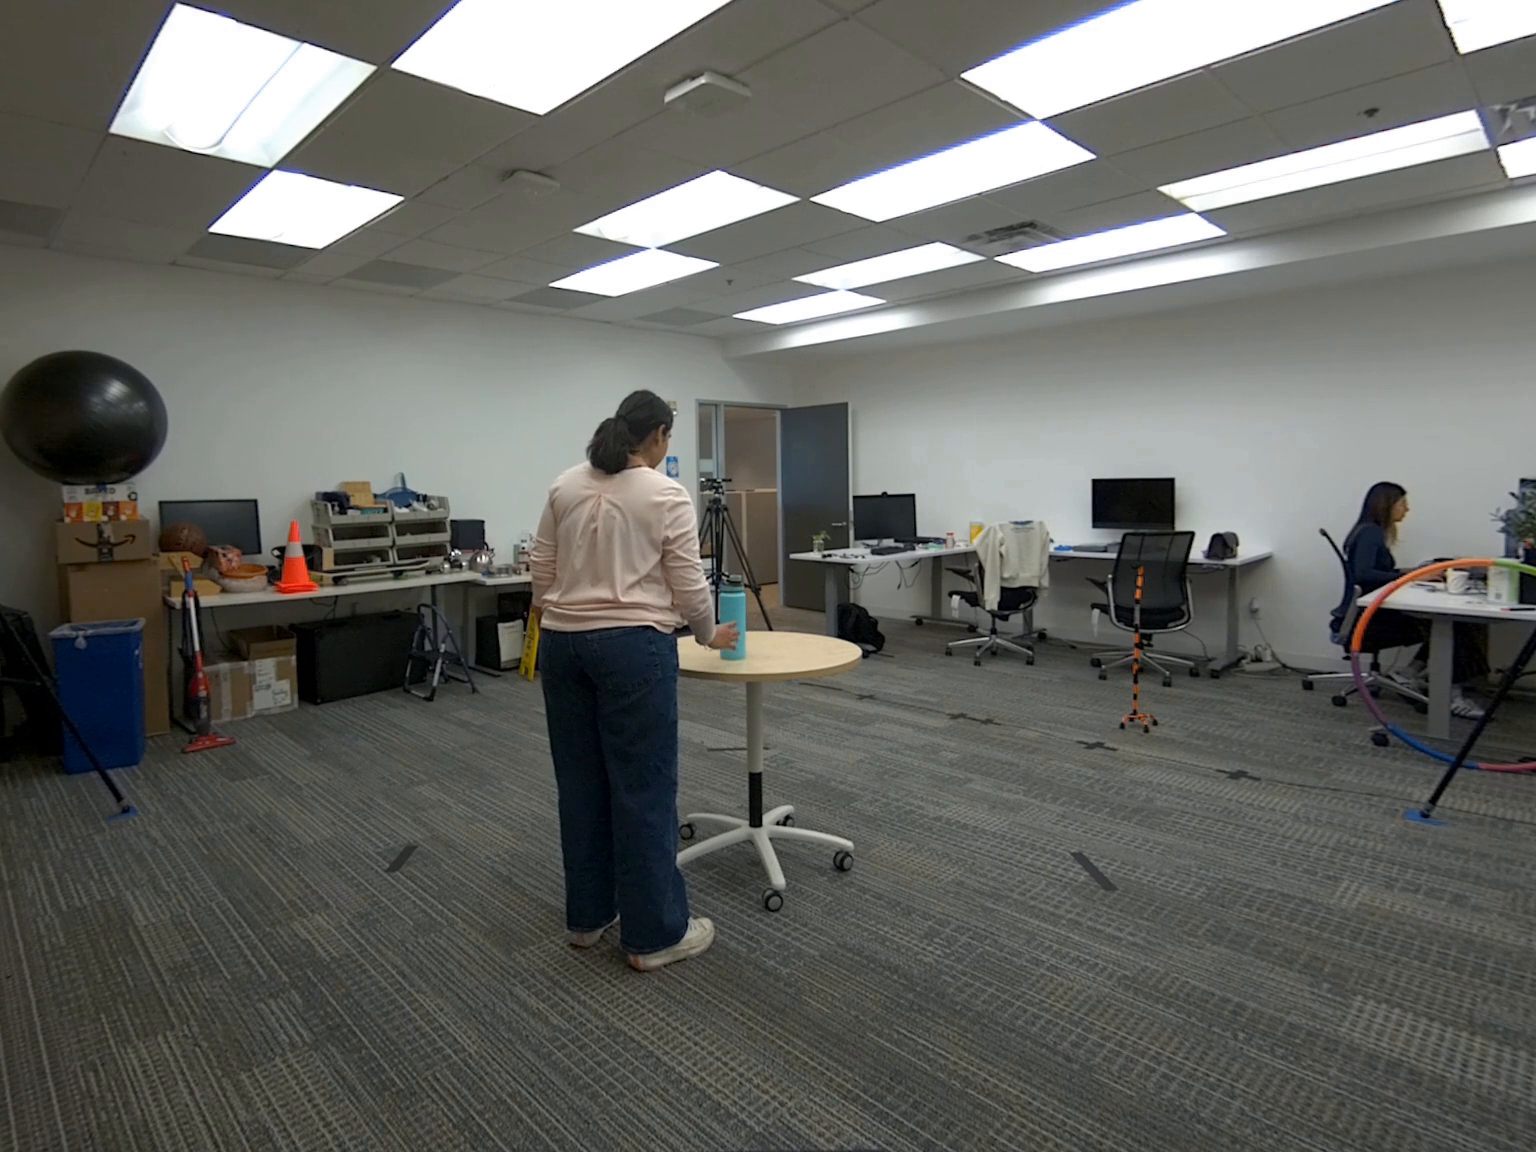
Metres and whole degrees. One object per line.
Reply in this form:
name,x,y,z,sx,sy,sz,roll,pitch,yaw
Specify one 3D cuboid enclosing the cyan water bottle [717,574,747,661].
cyan water bottle,-0.120,0.141,2.926,0.092,0.283,0.092,-2,1,-2
